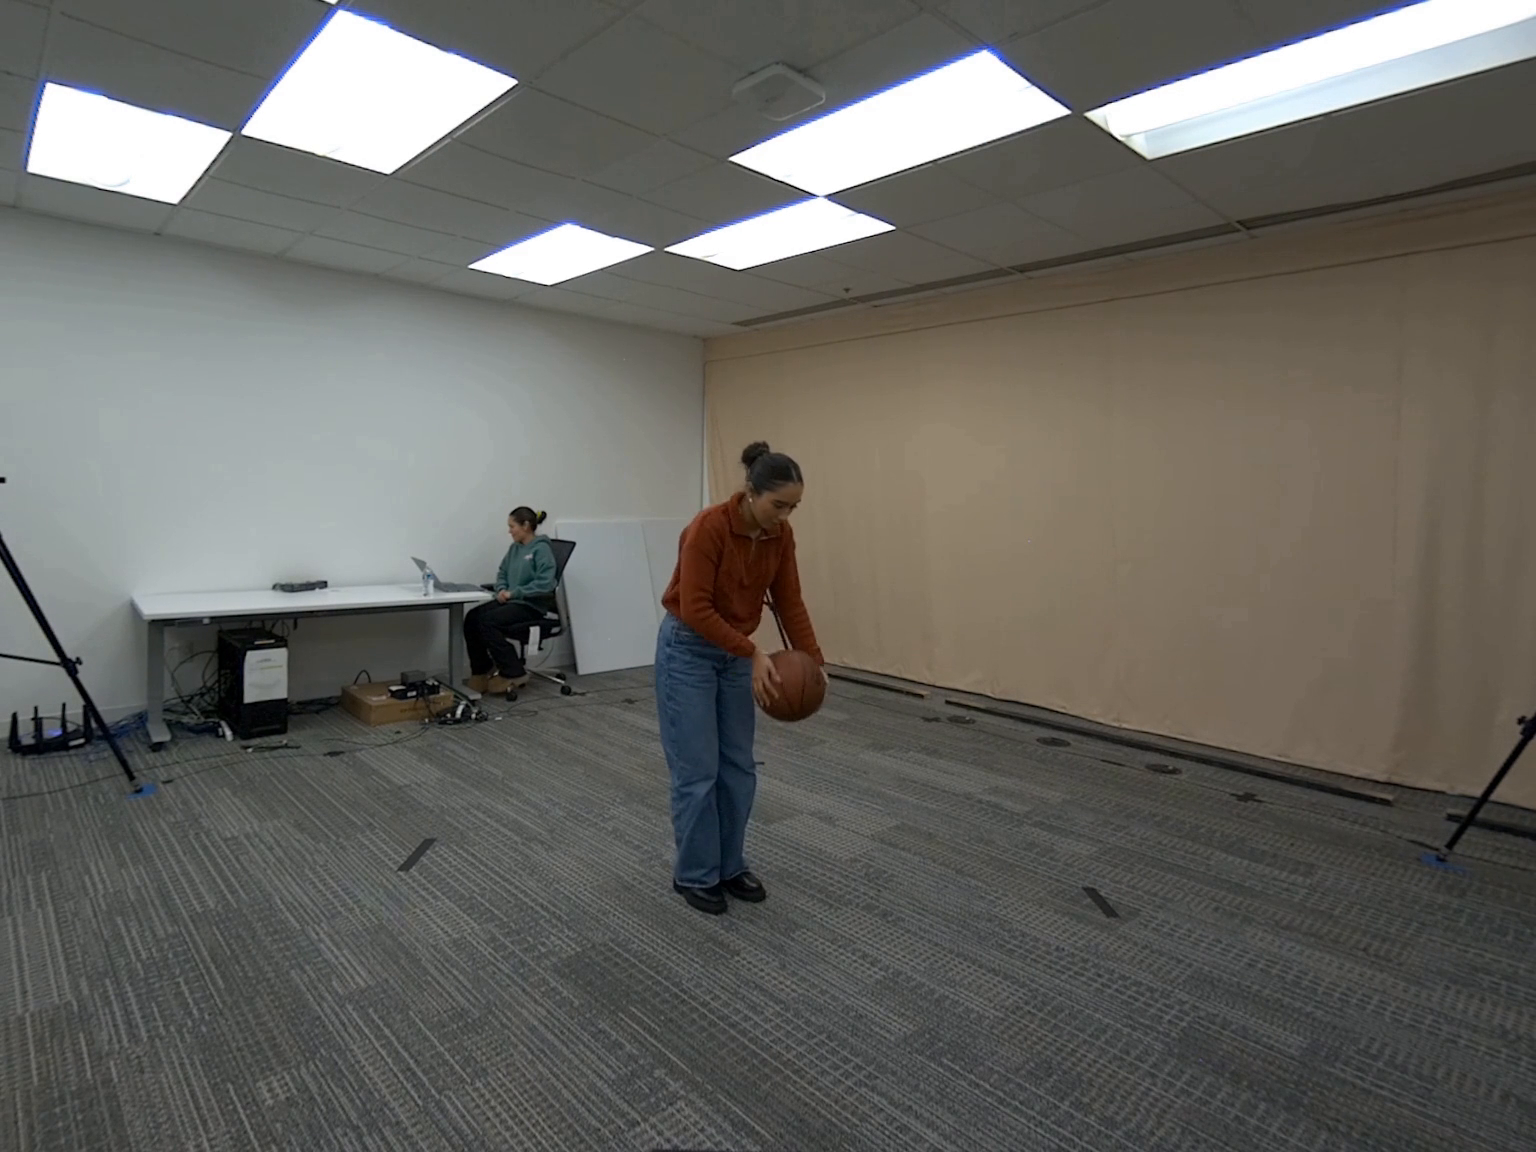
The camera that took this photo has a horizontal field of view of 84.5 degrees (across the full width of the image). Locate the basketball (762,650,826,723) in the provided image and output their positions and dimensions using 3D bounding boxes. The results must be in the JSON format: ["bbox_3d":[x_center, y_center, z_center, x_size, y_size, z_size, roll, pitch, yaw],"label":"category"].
[{"bbox_3d":[0.065,0.365,2.768,0.236,0.235,0.237,1,4,-1],"label":"basketball"}]
